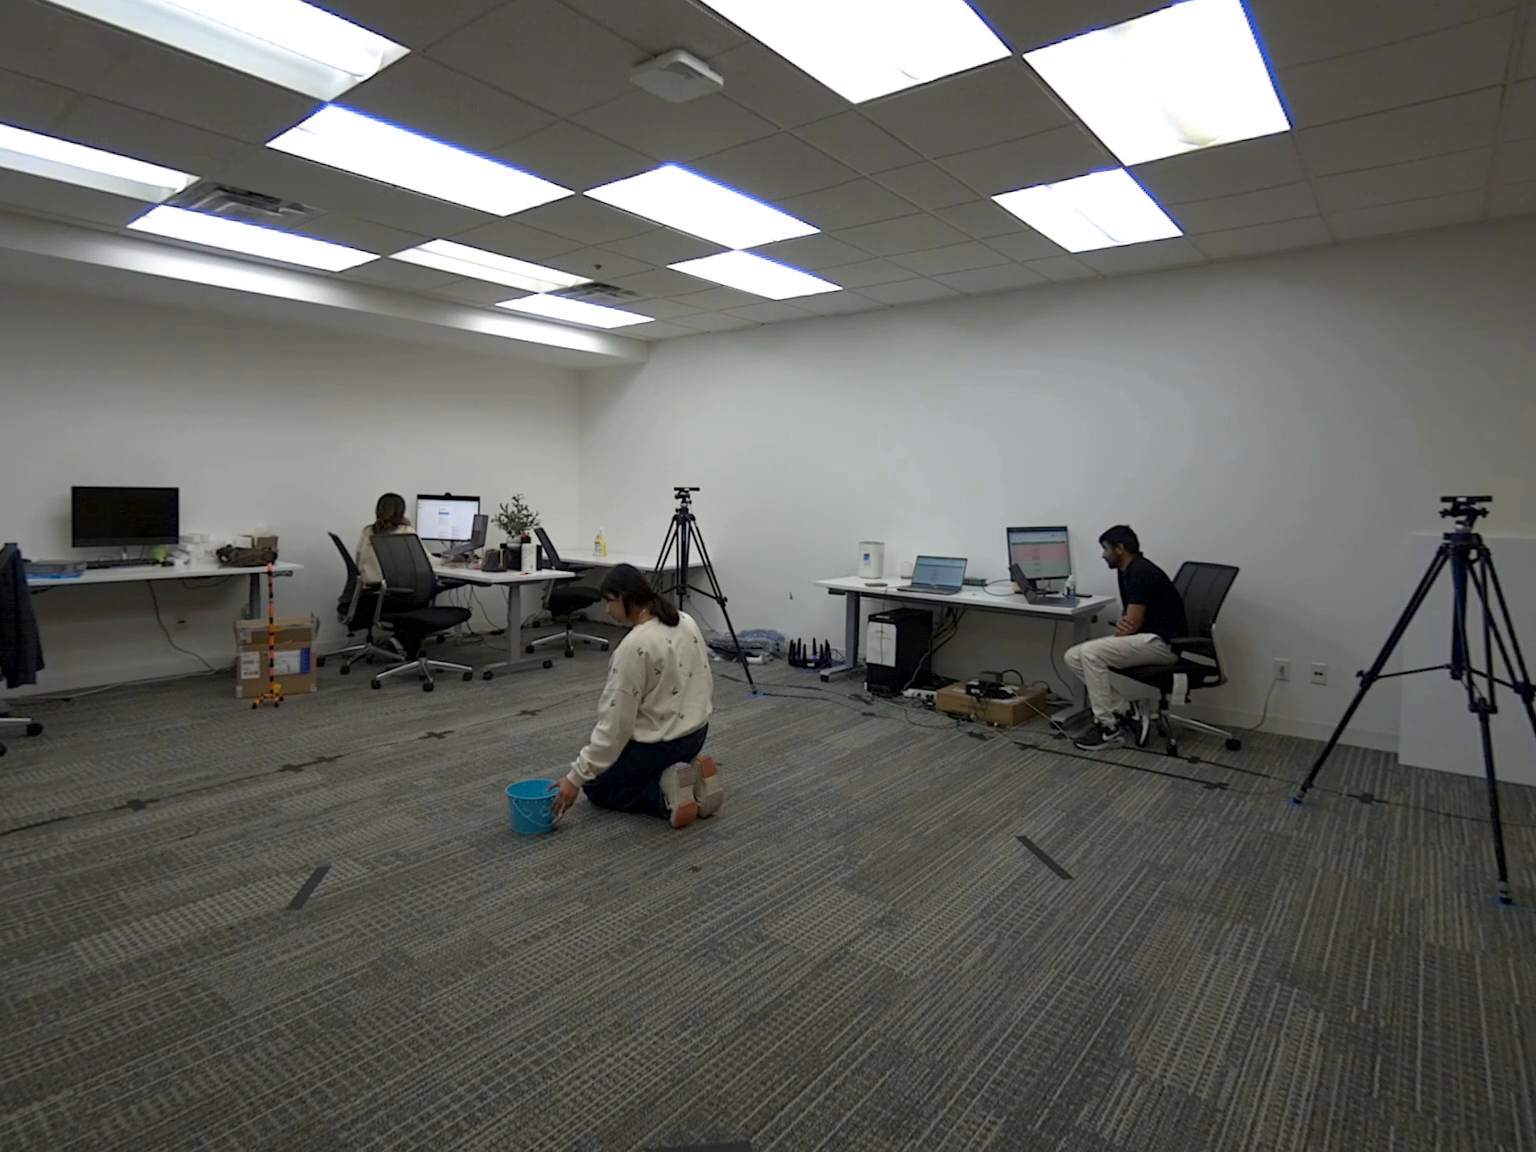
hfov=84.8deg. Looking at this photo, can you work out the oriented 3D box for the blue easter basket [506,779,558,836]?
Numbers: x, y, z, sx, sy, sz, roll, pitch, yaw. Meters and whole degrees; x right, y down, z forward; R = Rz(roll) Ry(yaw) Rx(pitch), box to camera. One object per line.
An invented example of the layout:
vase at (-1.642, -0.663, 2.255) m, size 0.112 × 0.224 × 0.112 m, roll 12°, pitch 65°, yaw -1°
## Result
blue easter basket at (-0.965, 0.938, 3.482) m, size 0.243 × 0.155 × 0.245 m, roll 0°, pitch 5°, yaw -2°
